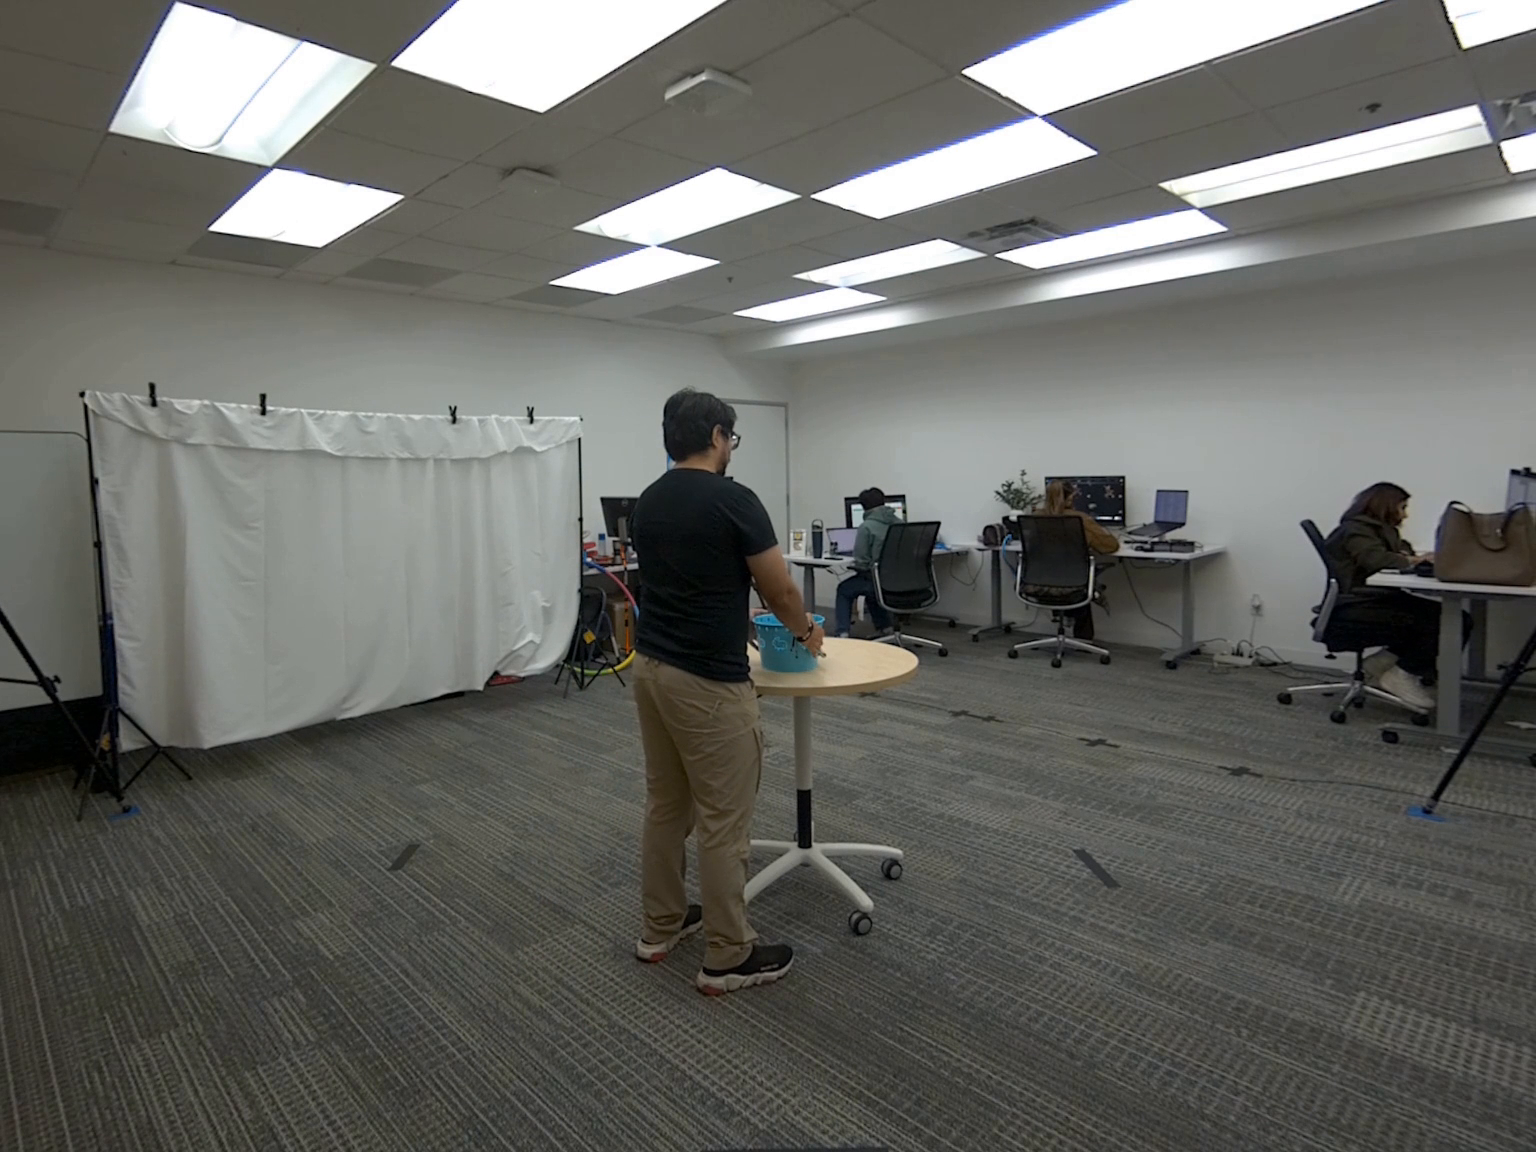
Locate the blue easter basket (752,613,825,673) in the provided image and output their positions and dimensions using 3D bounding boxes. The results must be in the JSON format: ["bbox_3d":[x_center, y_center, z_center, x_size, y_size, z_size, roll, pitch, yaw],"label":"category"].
[{"bbox_3d":[0.080,0.219,2.757,0.243,0.155,0.245,-2,8,-1],"label":"blue easter basket"}]
